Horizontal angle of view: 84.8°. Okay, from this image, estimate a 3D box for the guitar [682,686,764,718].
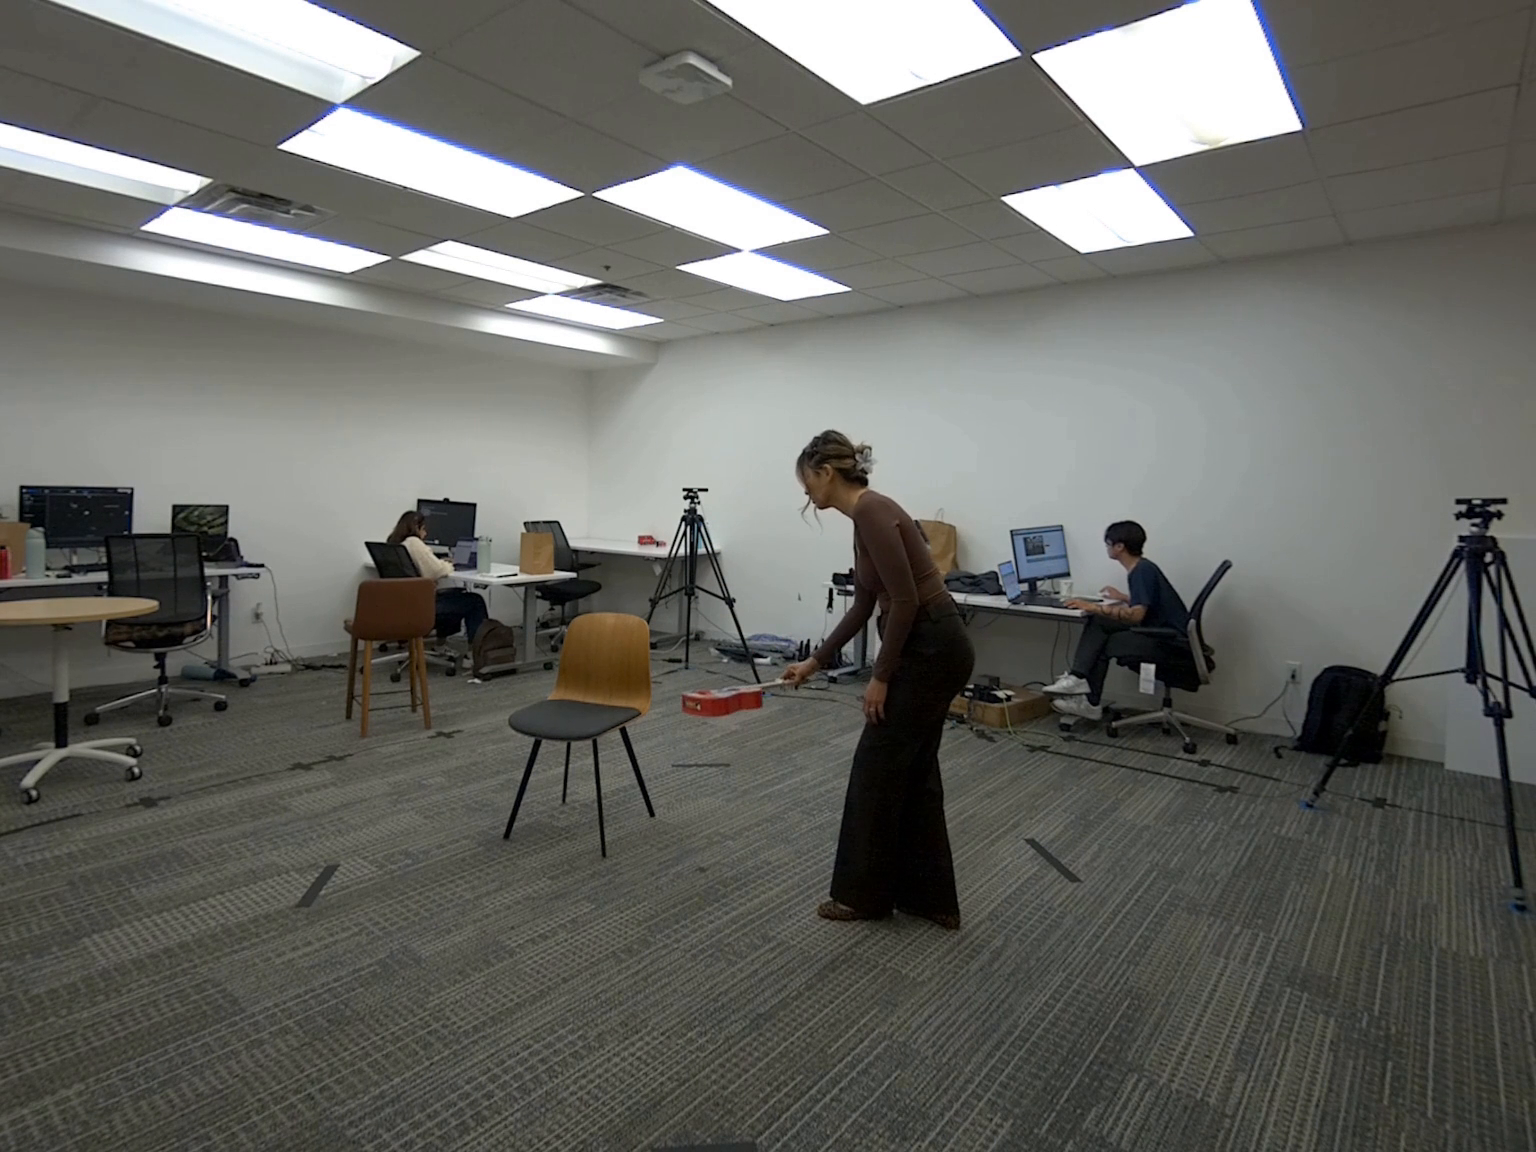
[{"bbox_3d":[-0.053,0.399,2.845,0.486,0.071,0.197,-4,1,-25],"label":"guitar"}]
